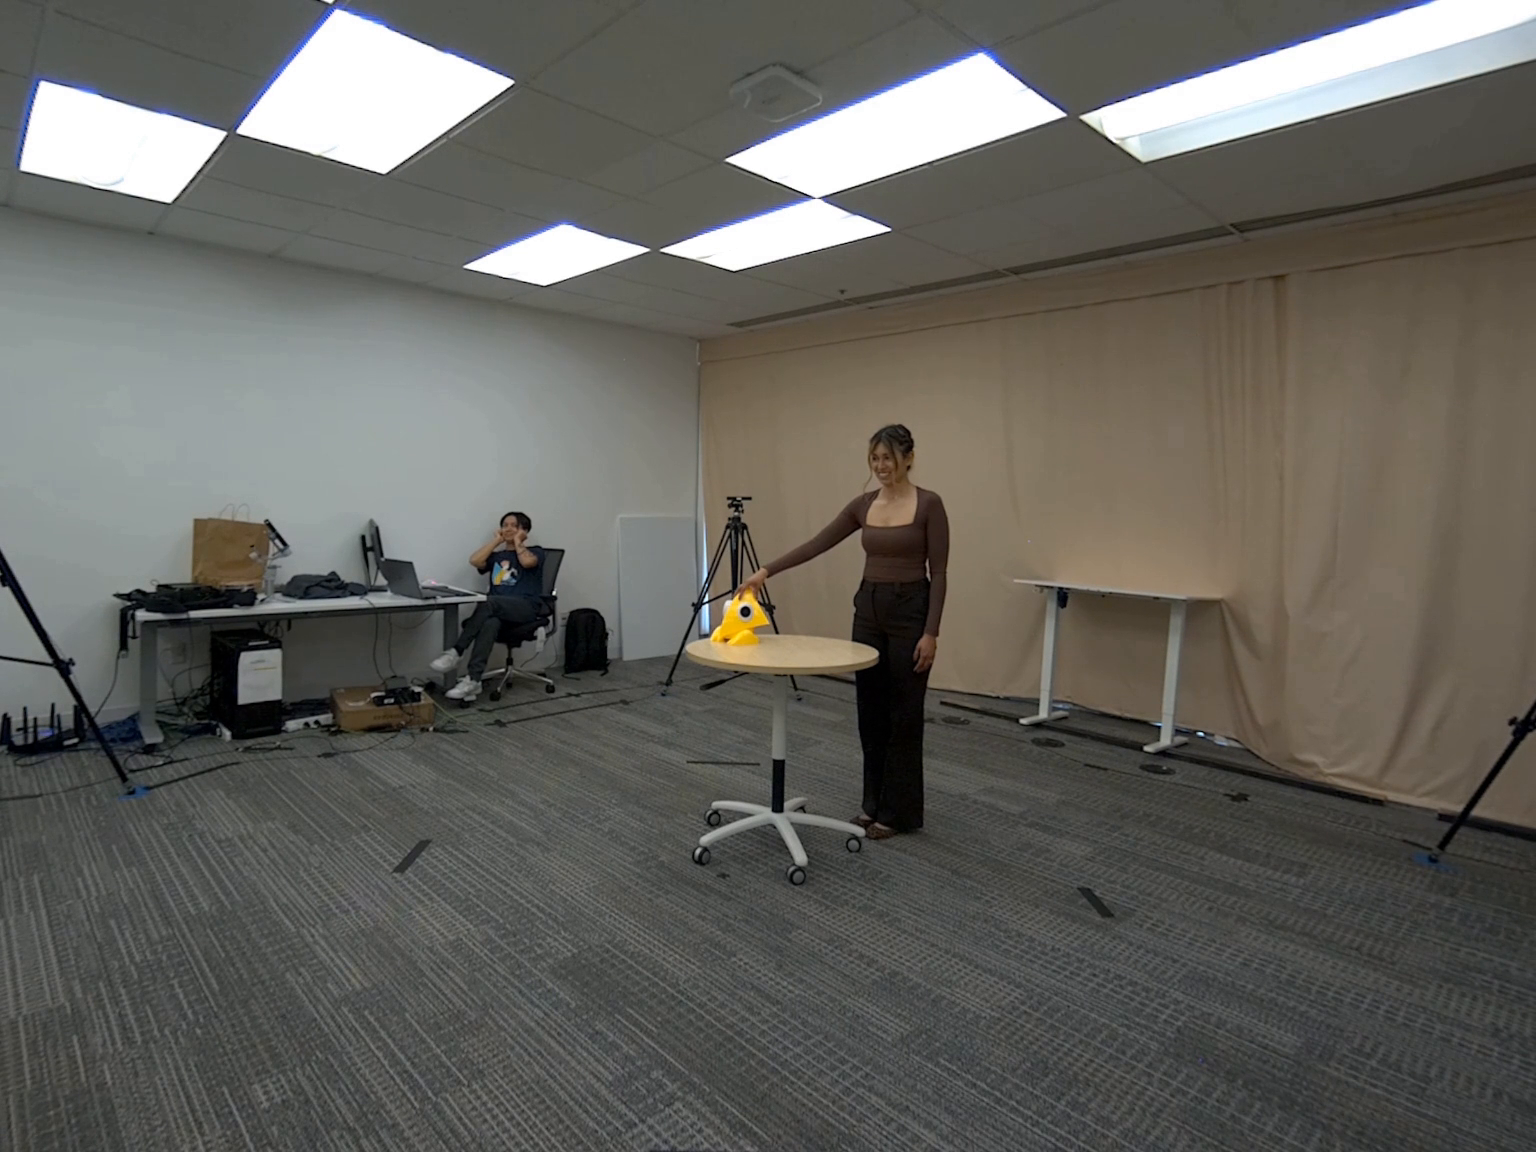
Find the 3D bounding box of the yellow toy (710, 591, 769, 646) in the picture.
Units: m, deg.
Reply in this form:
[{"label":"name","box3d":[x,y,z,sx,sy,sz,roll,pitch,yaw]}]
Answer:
[{"label":"yellow toy","box3d":[-0.135,0.160,3.527,0.189,0.230,0.210,-2,5,-42]}]
